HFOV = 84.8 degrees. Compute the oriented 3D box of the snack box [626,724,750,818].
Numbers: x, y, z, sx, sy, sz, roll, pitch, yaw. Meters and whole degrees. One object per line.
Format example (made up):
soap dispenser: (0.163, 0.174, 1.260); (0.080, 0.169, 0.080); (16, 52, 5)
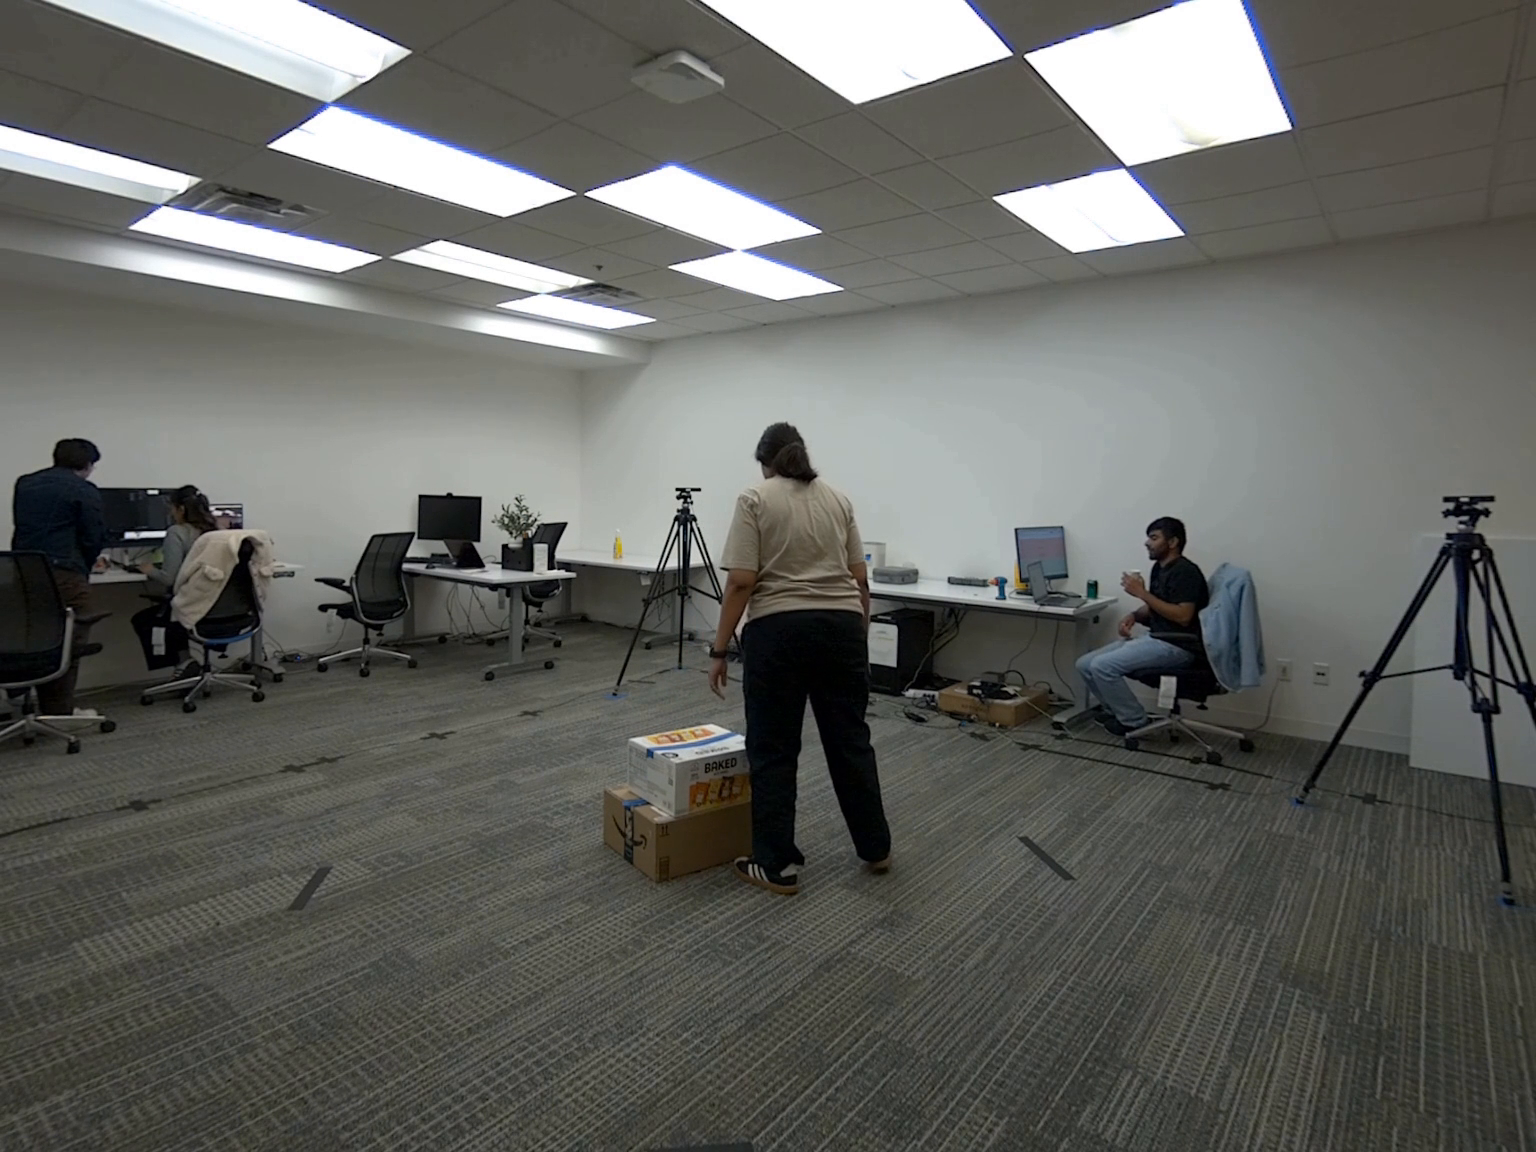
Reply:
snack box: (-0.293, 0.736, 3.269); (0.393, 0.205, 0.352); (-3, 6, -38)
